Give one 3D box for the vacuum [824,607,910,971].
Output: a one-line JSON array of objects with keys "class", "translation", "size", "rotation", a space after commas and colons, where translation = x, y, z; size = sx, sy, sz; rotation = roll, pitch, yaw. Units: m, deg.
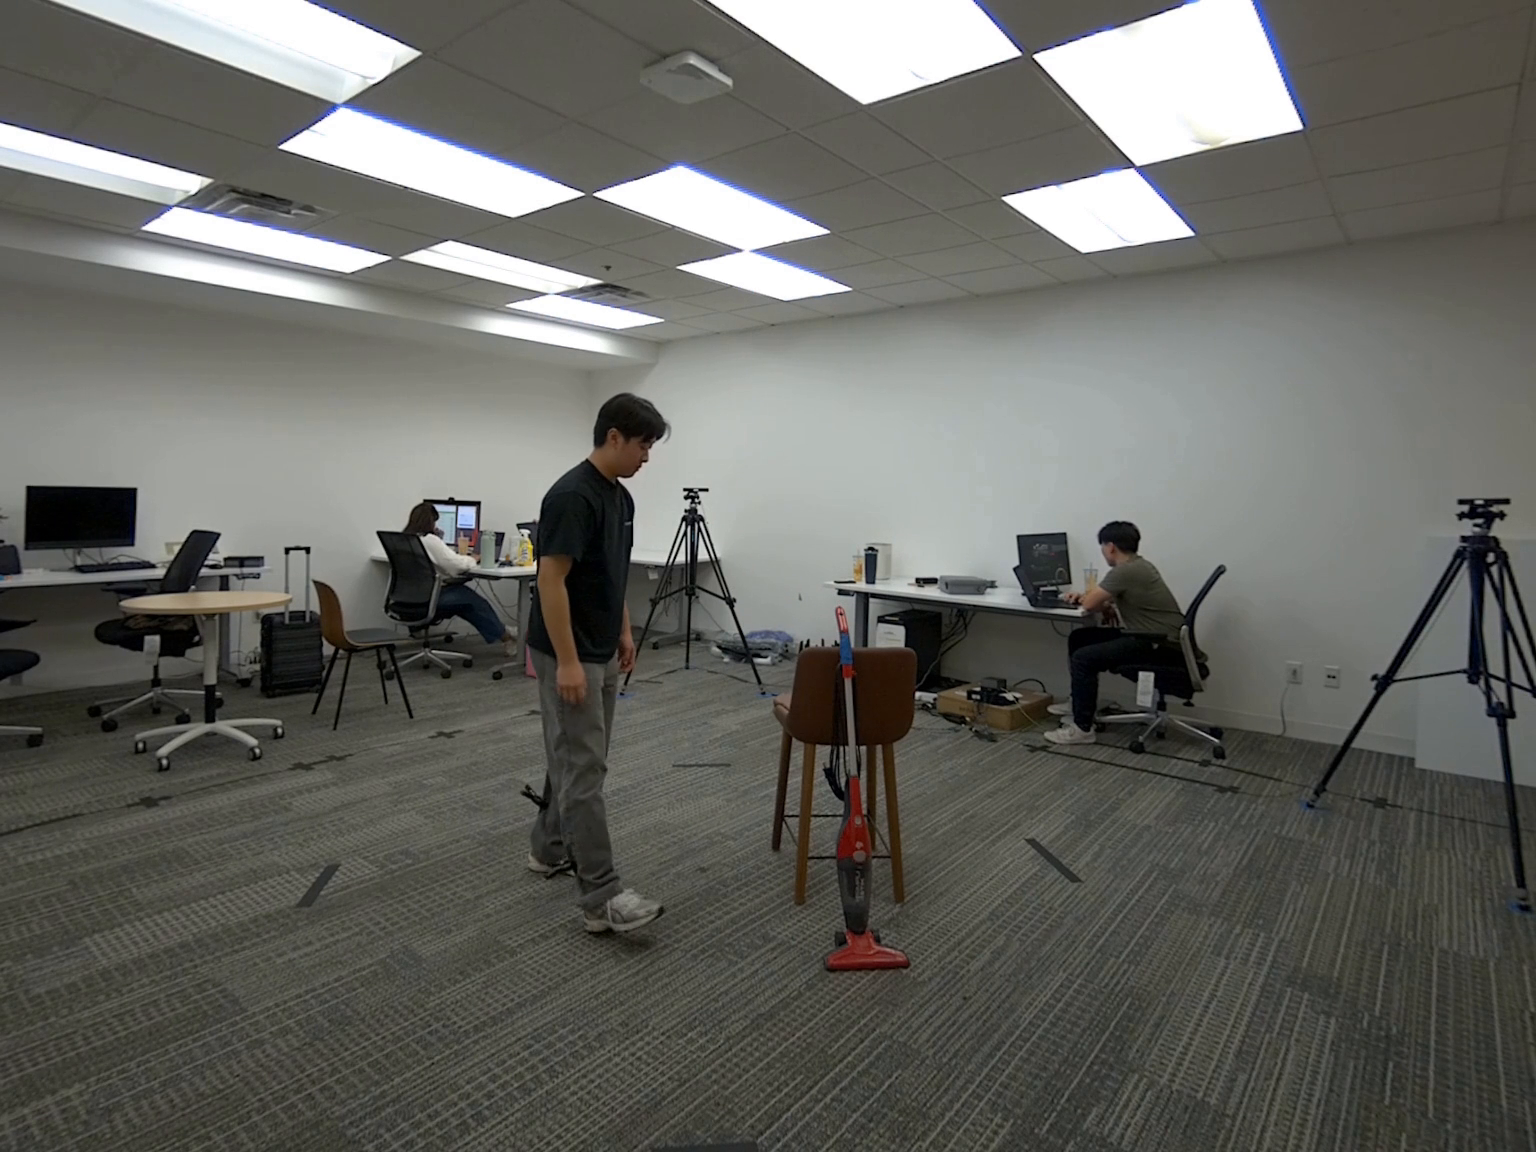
[{"class": "vacuum", "translation": [0.254, 0.621, 2.671], "size": [0.248, 1.065, 0.144], "rotation": [1, -15, -17]}]
